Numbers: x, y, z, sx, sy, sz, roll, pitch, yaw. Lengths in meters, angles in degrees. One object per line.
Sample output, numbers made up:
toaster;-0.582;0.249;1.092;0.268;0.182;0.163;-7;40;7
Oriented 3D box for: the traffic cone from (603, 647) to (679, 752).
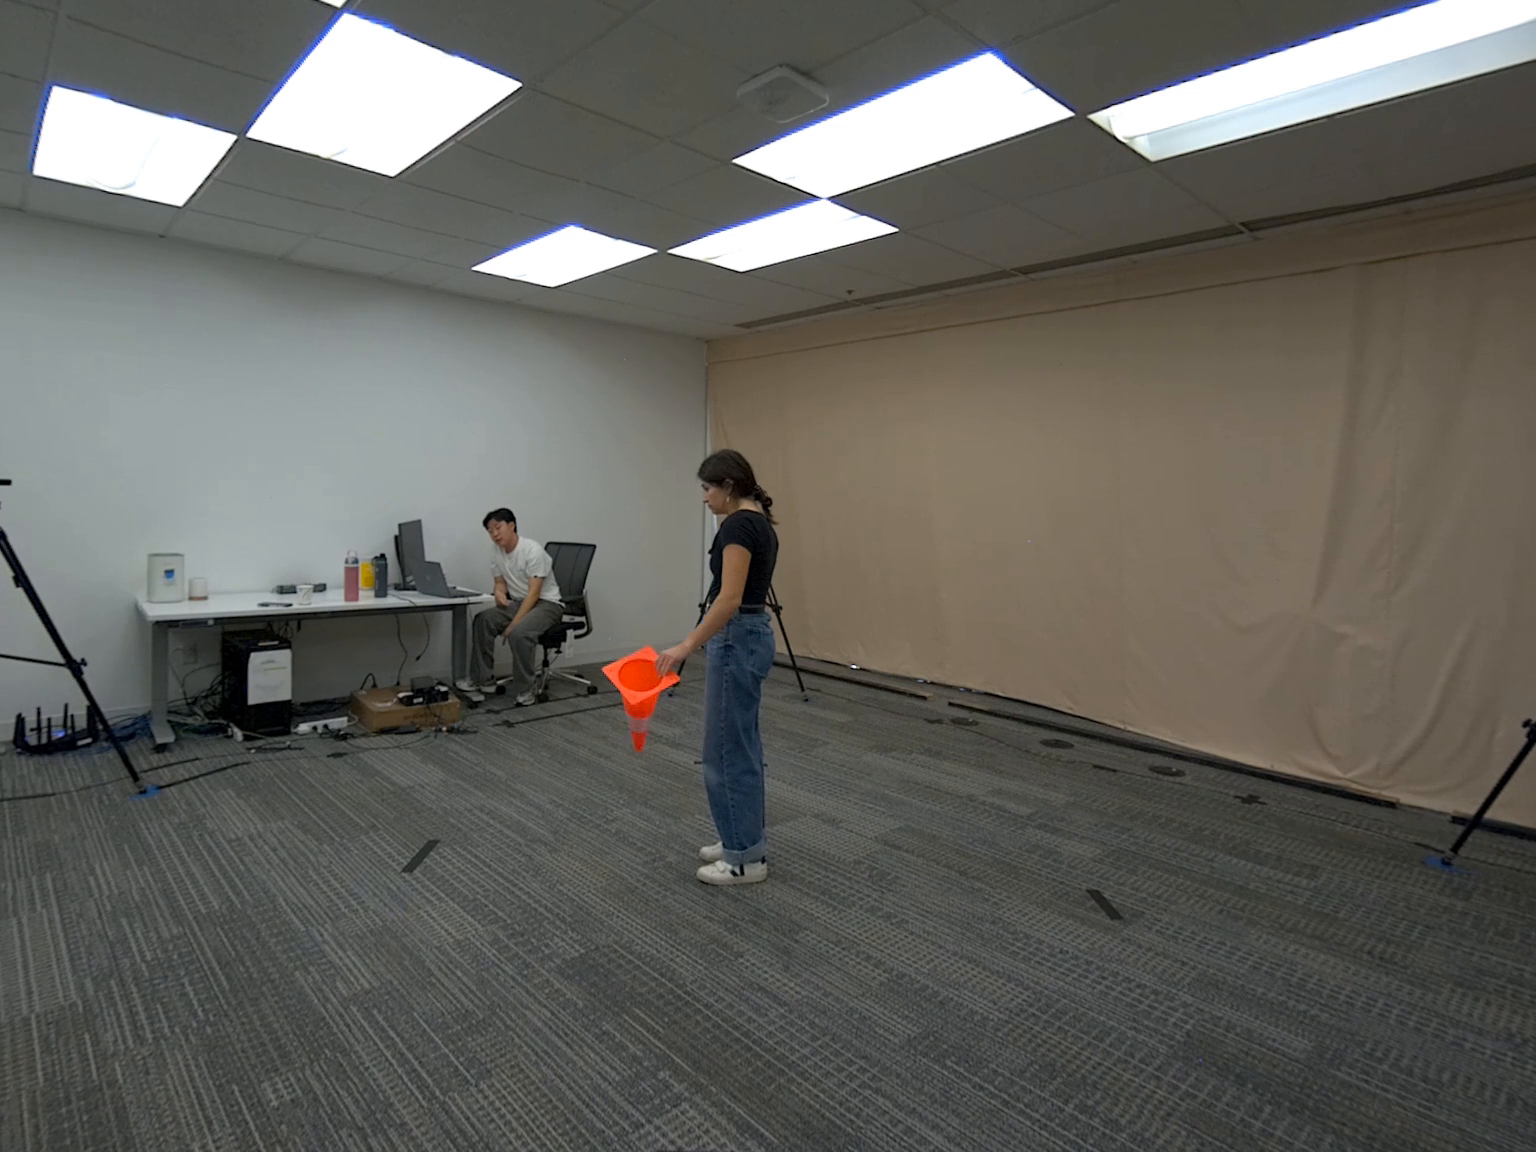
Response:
traffic cone;-0.429;0.483;2.977;0.211;0.376;0.201;32;44;30
